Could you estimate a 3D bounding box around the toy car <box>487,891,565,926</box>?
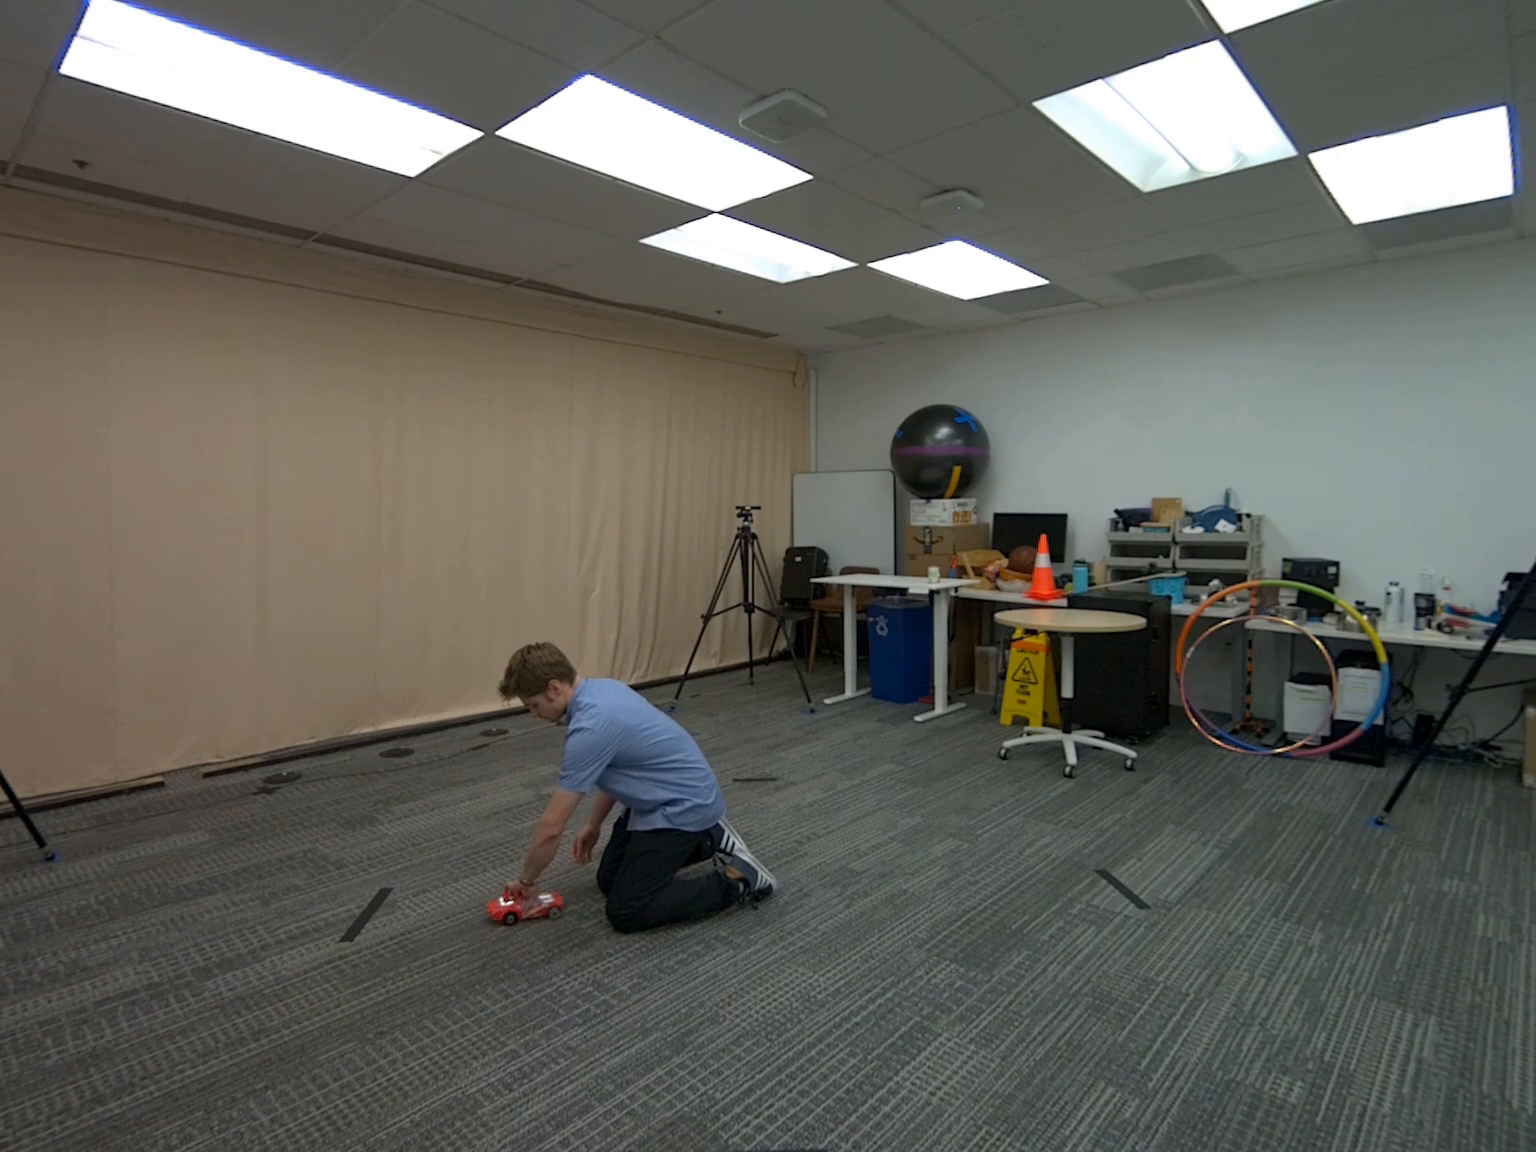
[{"bbox_3d":[-0.836,1.133,2.864,0.249,0.083,0.133,11,-1,-19],"label":"toy car"}]
